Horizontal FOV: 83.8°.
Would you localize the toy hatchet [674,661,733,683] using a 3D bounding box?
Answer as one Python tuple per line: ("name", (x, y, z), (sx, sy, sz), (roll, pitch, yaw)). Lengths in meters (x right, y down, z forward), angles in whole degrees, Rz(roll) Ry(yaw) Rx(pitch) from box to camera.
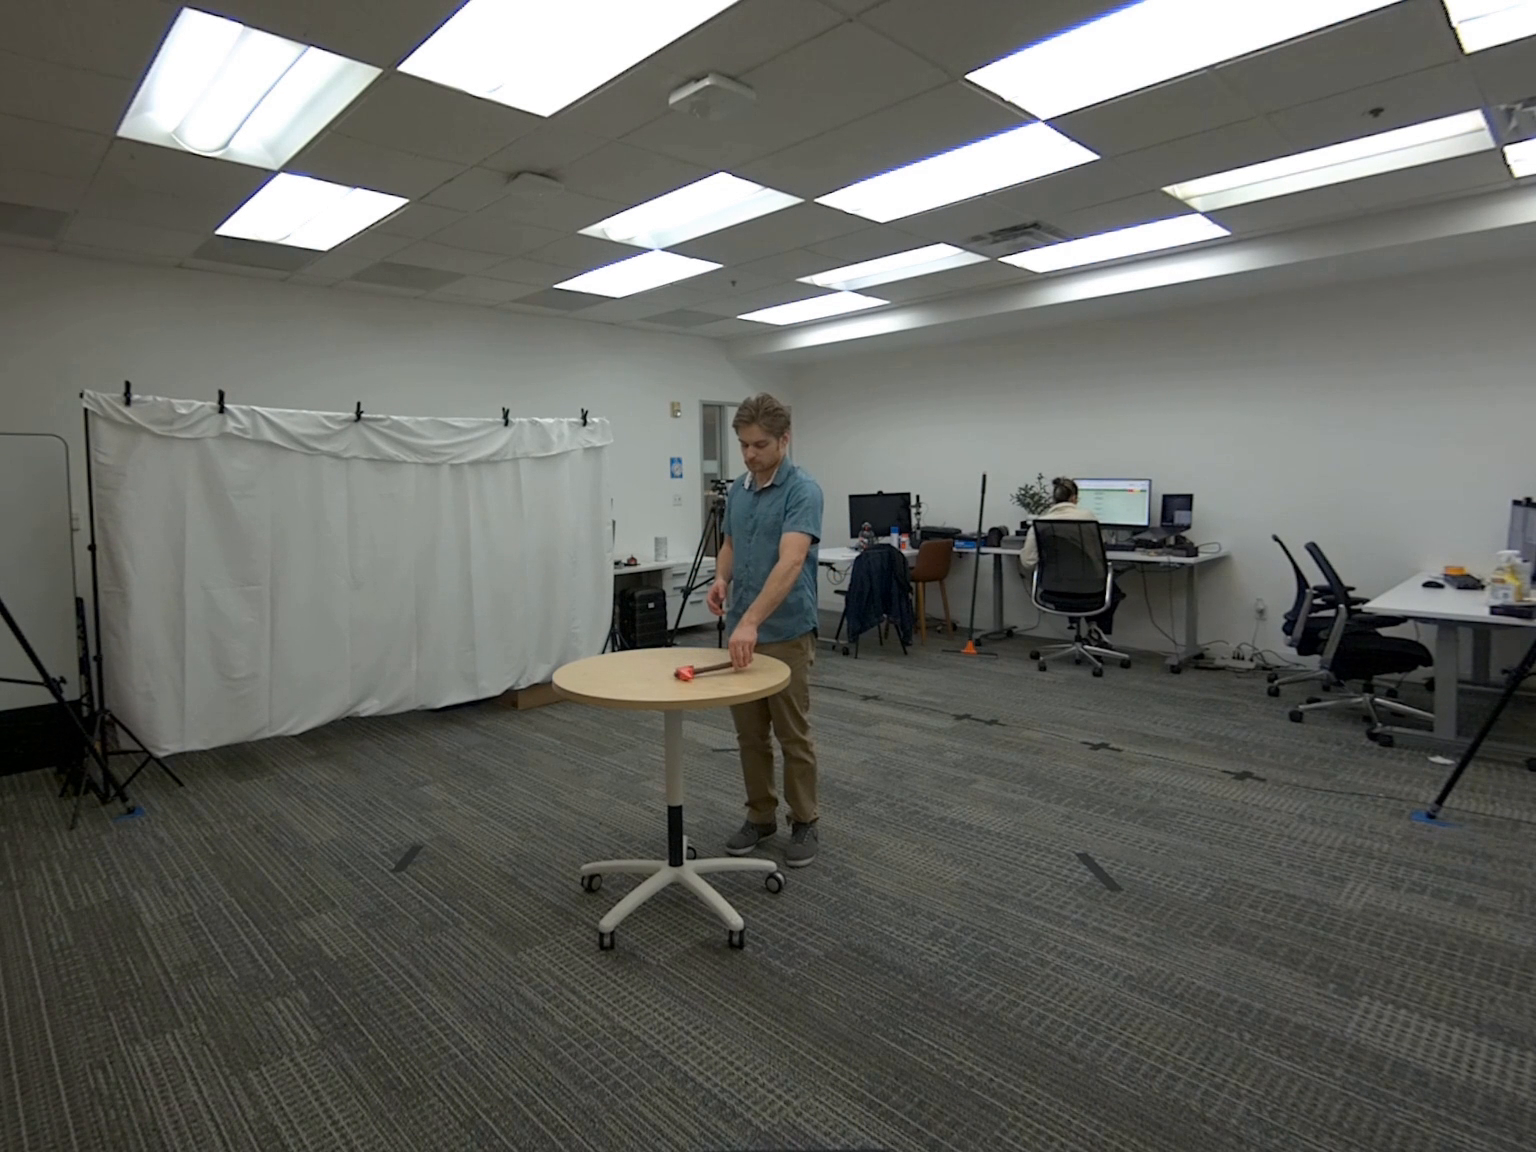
("toy hatchet", (-0.181, 0.292, 2.711), (0.263, 0.029, 0.135), (-7, 5, -39))
